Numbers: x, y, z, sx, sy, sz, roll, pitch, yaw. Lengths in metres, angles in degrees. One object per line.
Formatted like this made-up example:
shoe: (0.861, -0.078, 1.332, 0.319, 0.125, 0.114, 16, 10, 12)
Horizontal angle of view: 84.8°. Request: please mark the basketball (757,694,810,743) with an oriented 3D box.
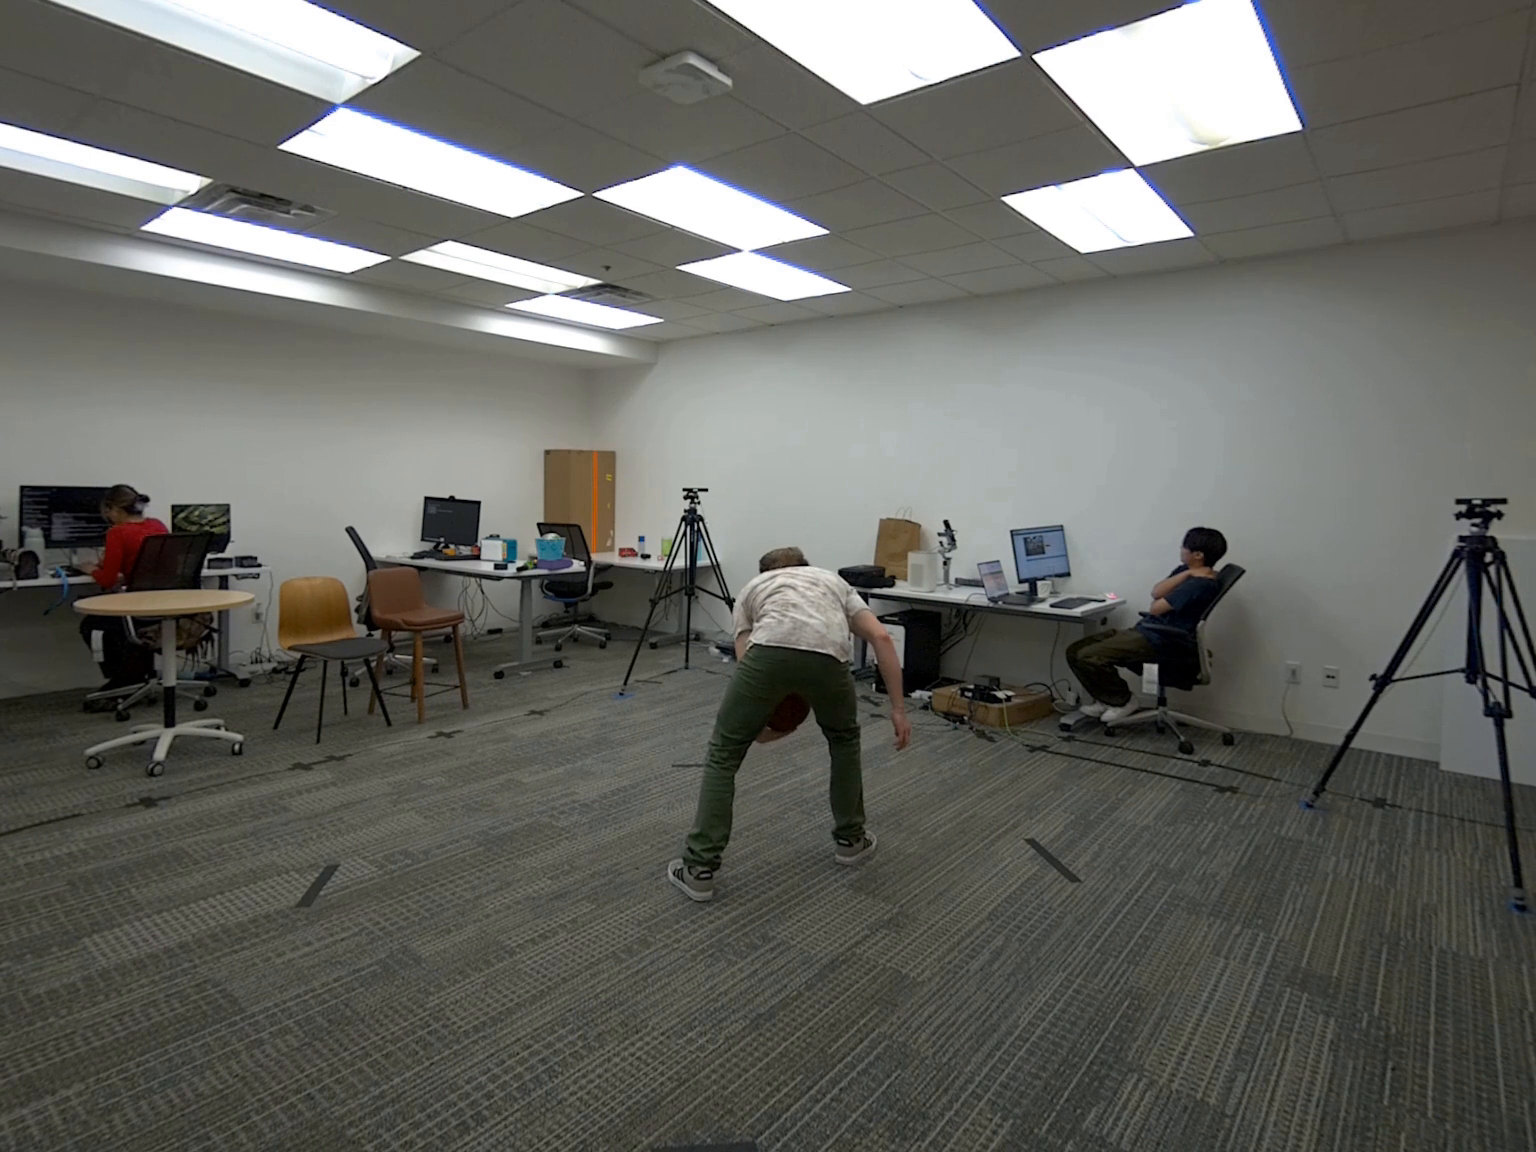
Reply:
basketball: (0.049, 0.484, 3.367, 0.235, 0.235, 0.237, 1, 4, -2)
